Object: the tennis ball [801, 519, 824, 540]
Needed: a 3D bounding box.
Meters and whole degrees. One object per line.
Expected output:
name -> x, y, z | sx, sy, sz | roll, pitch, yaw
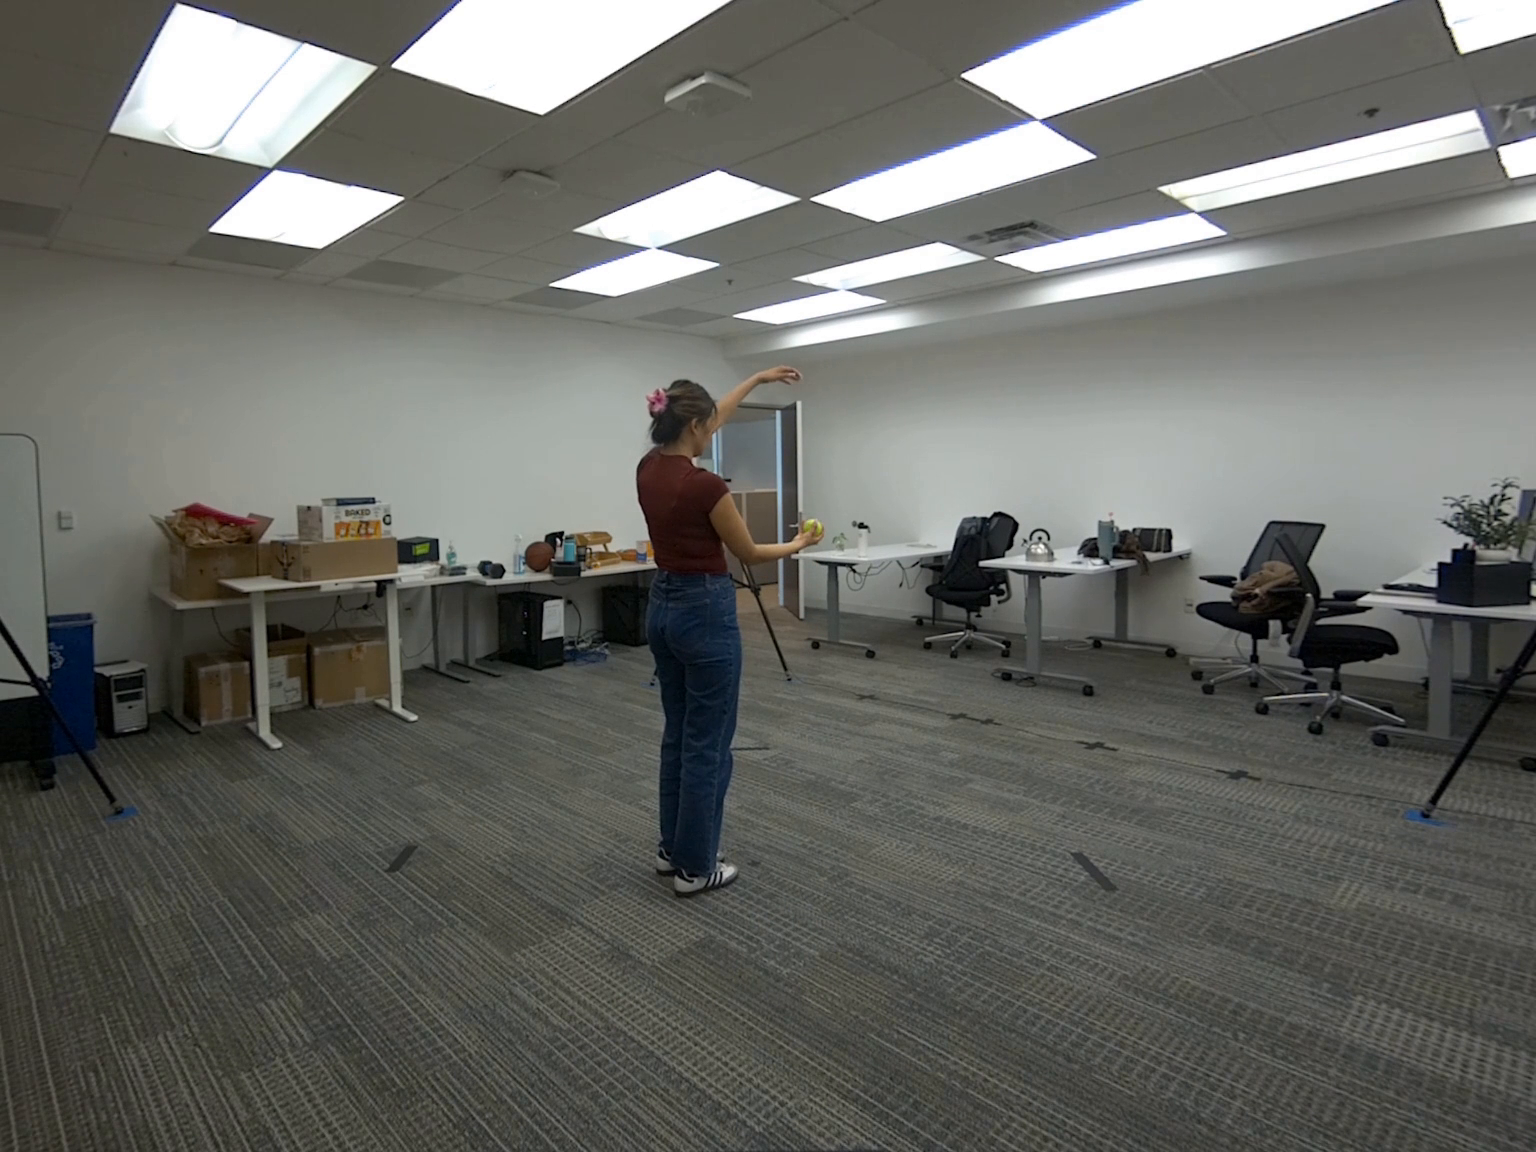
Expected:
tennis ball -> 0.164, -0.199, 3.124 | 0.066, 0.066, 0.067 | -1, 5, -2
